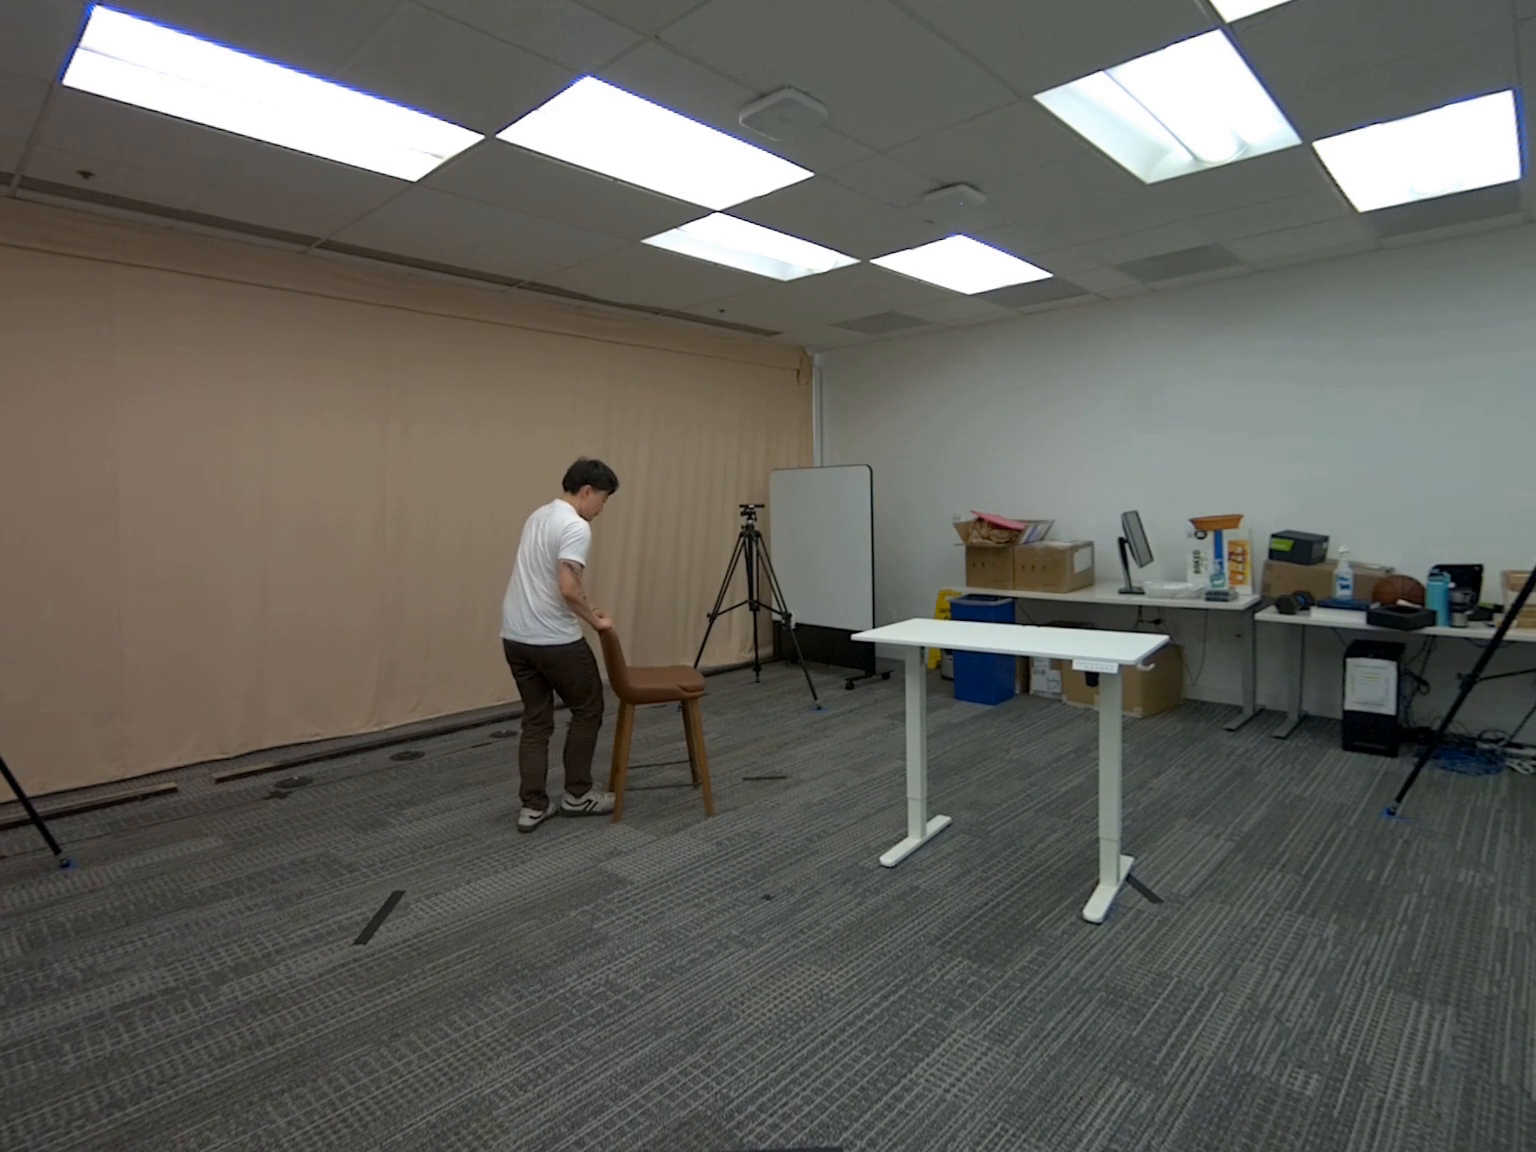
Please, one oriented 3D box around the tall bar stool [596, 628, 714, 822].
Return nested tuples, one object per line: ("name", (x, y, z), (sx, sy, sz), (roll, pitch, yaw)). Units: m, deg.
("tall bar stool", (-0.530, 0.639, 3.917), (0.462, 0.888, 0.463), (-3, 3, -12))
